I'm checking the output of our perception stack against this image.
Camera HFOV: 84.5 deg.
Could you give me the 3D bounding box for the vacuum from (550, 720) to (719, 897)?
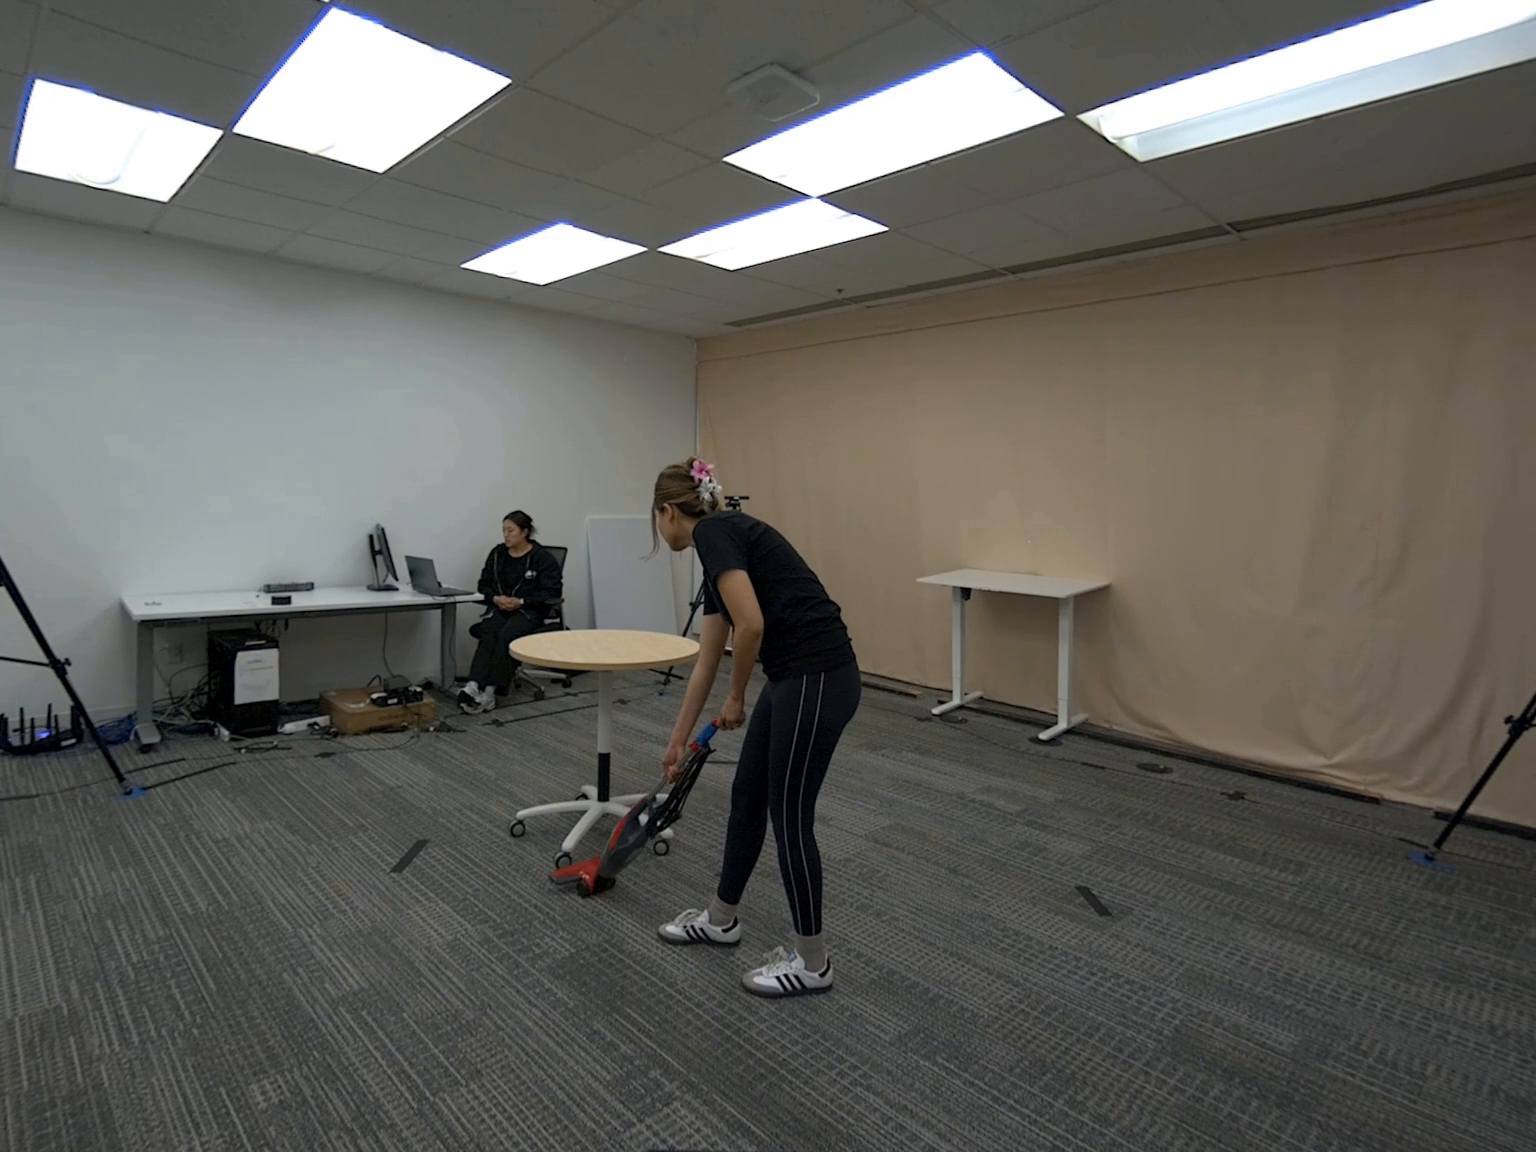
[{"bbox_3d":[-0.369,0.749,2.695,0.248,0.147,1.047,-11,-32,-49],"label":"vacuum"}]
